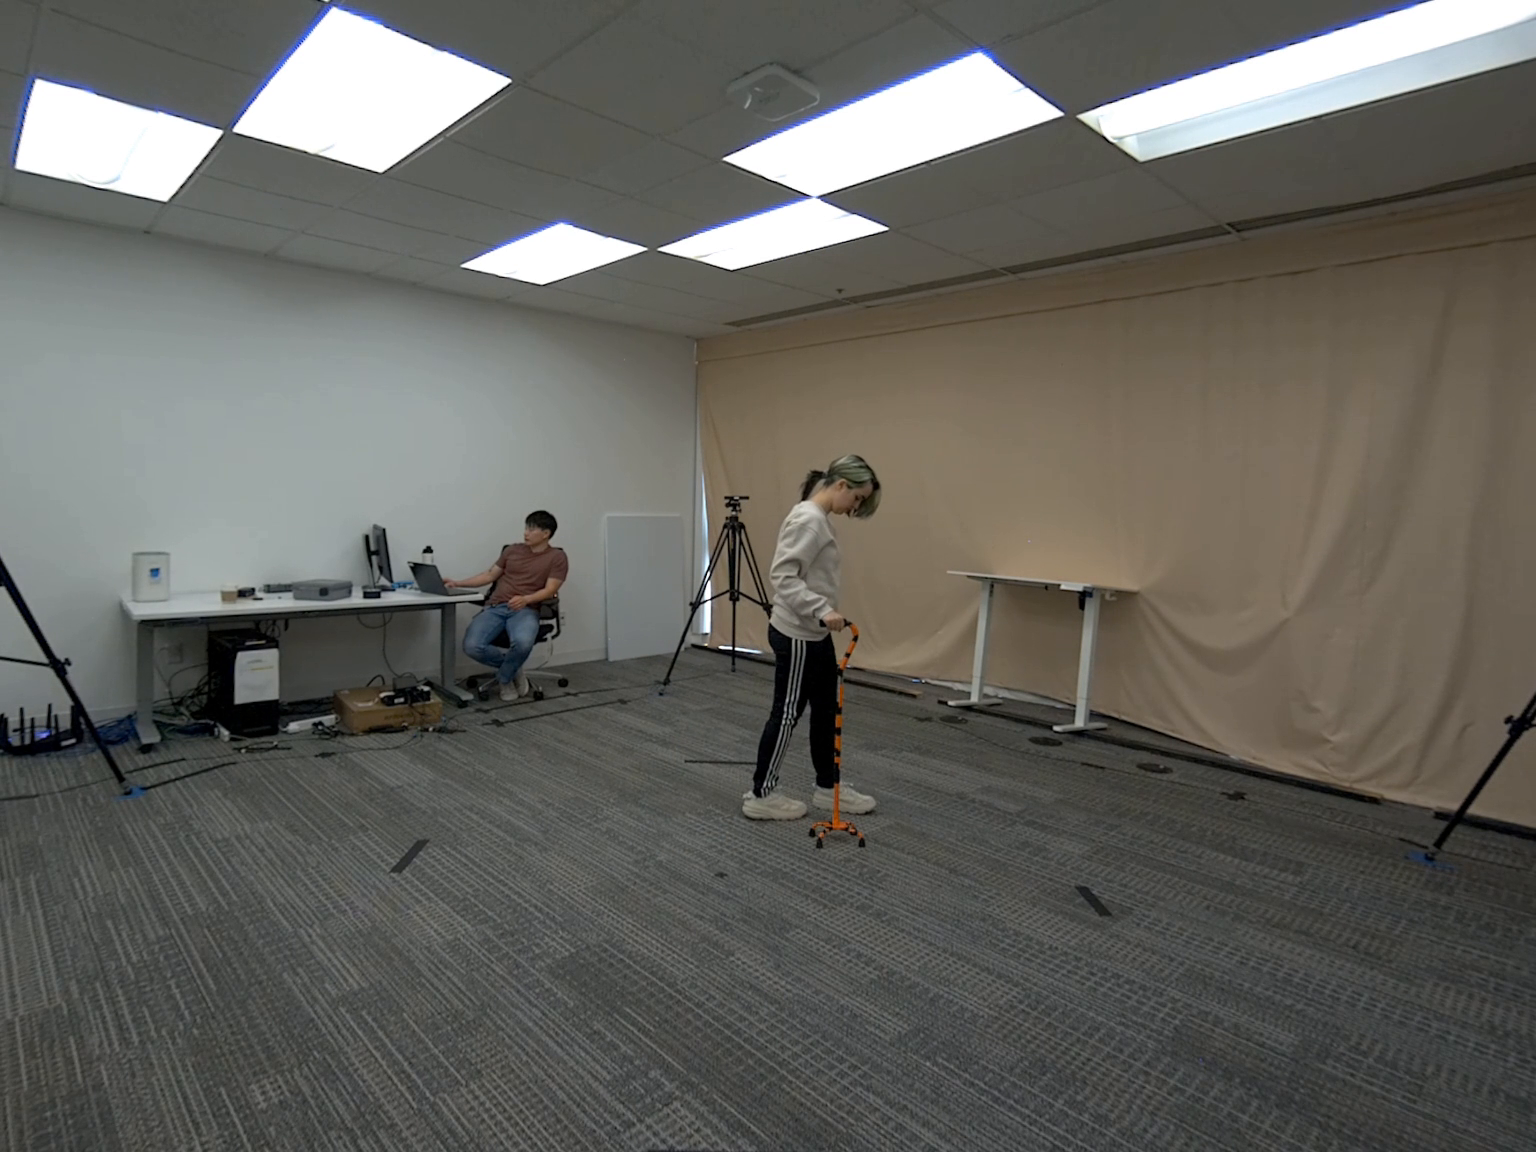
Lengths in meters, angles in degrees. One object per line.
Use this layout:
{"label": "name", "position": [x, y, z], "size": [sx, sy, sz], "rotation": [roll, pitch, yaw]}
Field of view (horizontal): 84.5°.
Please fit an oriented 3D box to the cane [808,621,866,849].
{"label": "cane", "position": [0.290, 0.638, 3.427], "size": [0.204, 0.906, 0.153], "rotation": [2, 2, -12]}
